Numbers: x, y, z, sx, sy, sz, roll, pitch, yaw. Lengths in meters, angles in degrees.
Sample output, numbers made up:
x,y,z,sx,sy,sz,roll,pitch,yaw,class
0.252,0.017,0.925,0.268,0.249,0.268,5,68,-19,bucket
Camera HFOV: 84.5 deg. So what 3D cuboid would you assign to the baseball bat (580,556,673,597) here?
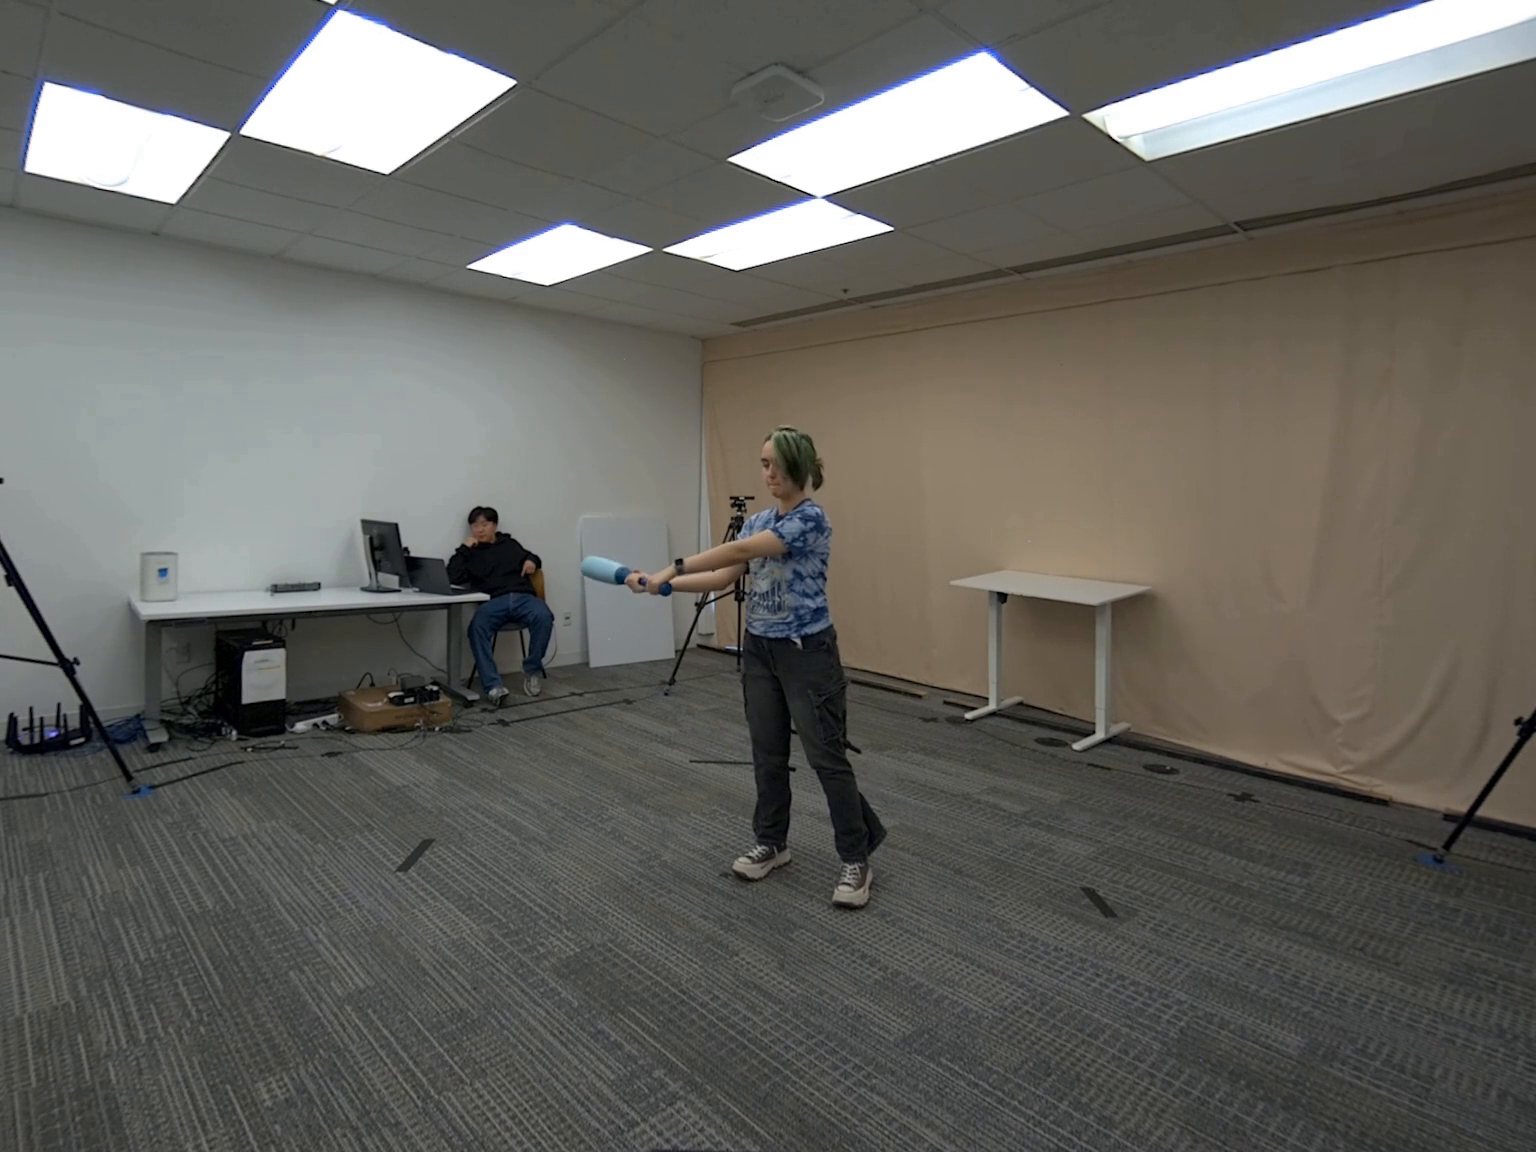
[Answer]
x,y,z,sx,sy,sz,roll,pitch,yaw,class
-0.497,0.000,3.050,0.087,0.088,0.558,-2,10,-39,baseball bat
